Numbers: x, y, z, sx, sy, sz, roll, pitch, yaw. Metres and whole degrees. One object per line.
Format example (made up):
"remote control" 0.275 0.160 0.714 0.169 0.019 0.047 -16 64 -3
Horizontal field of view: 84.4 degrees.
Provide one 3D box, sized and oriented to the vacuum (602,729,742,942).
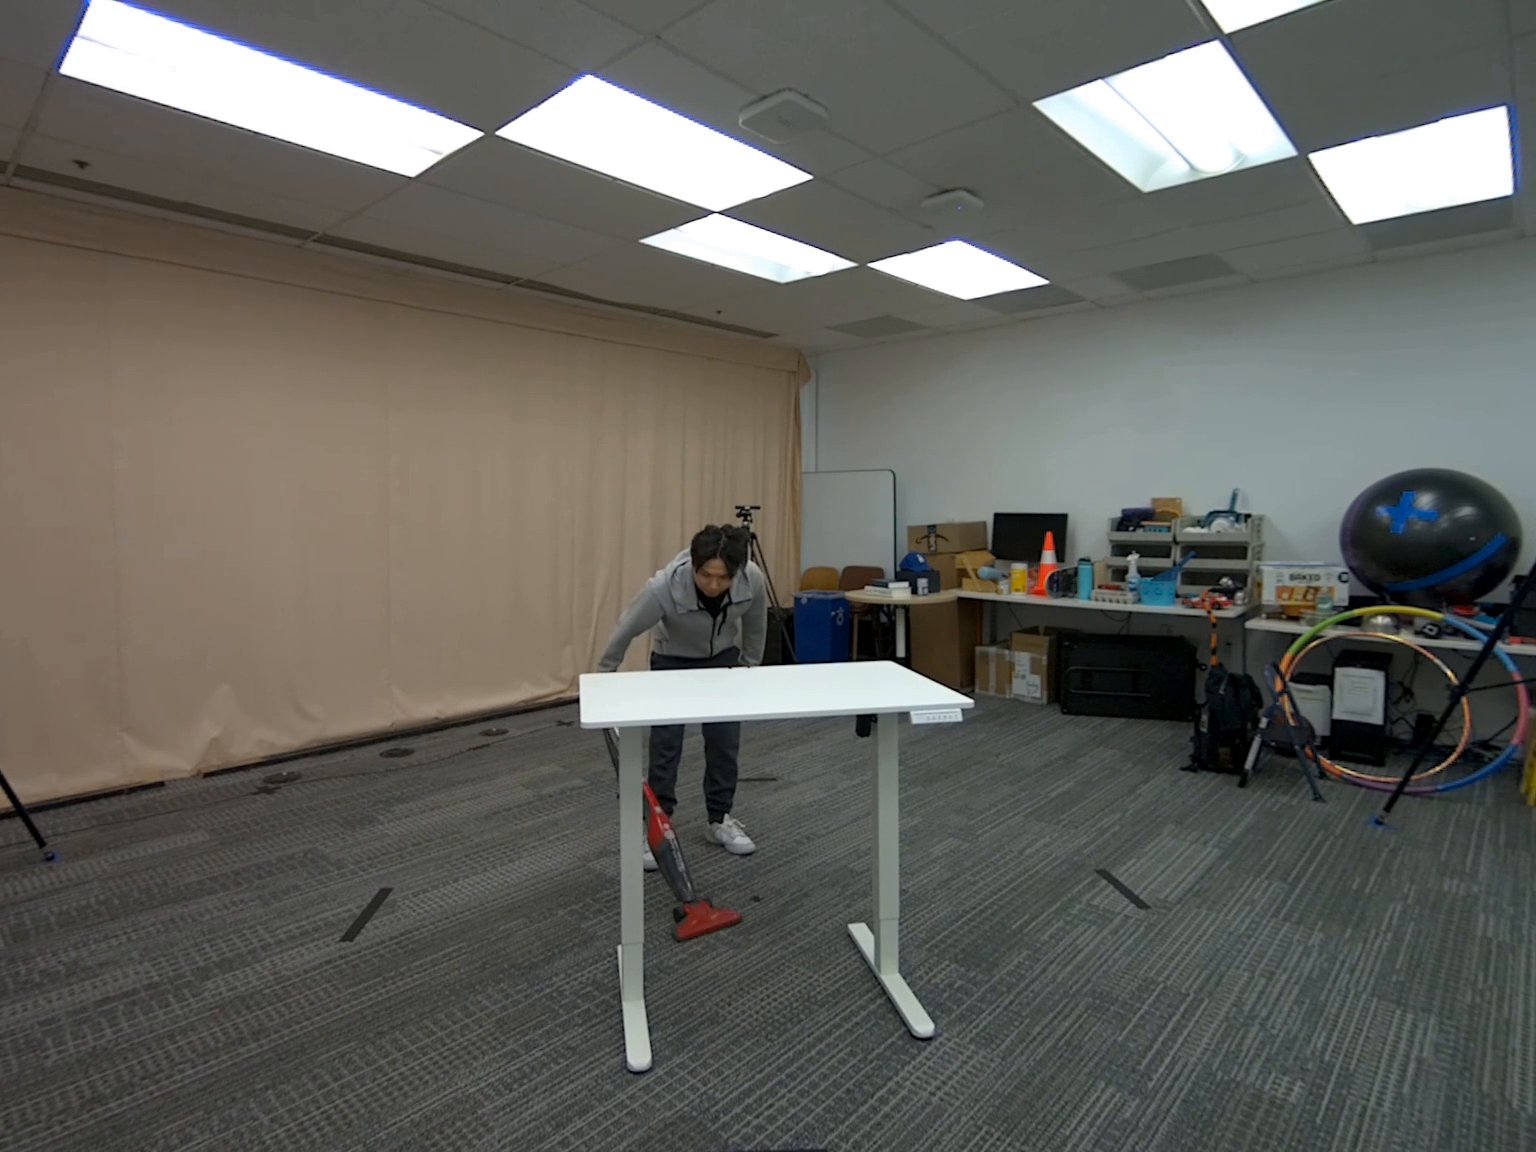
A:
"vacuum" -0.456 0.818 3.143 0.245 0.143 1.086 2 35 -36
